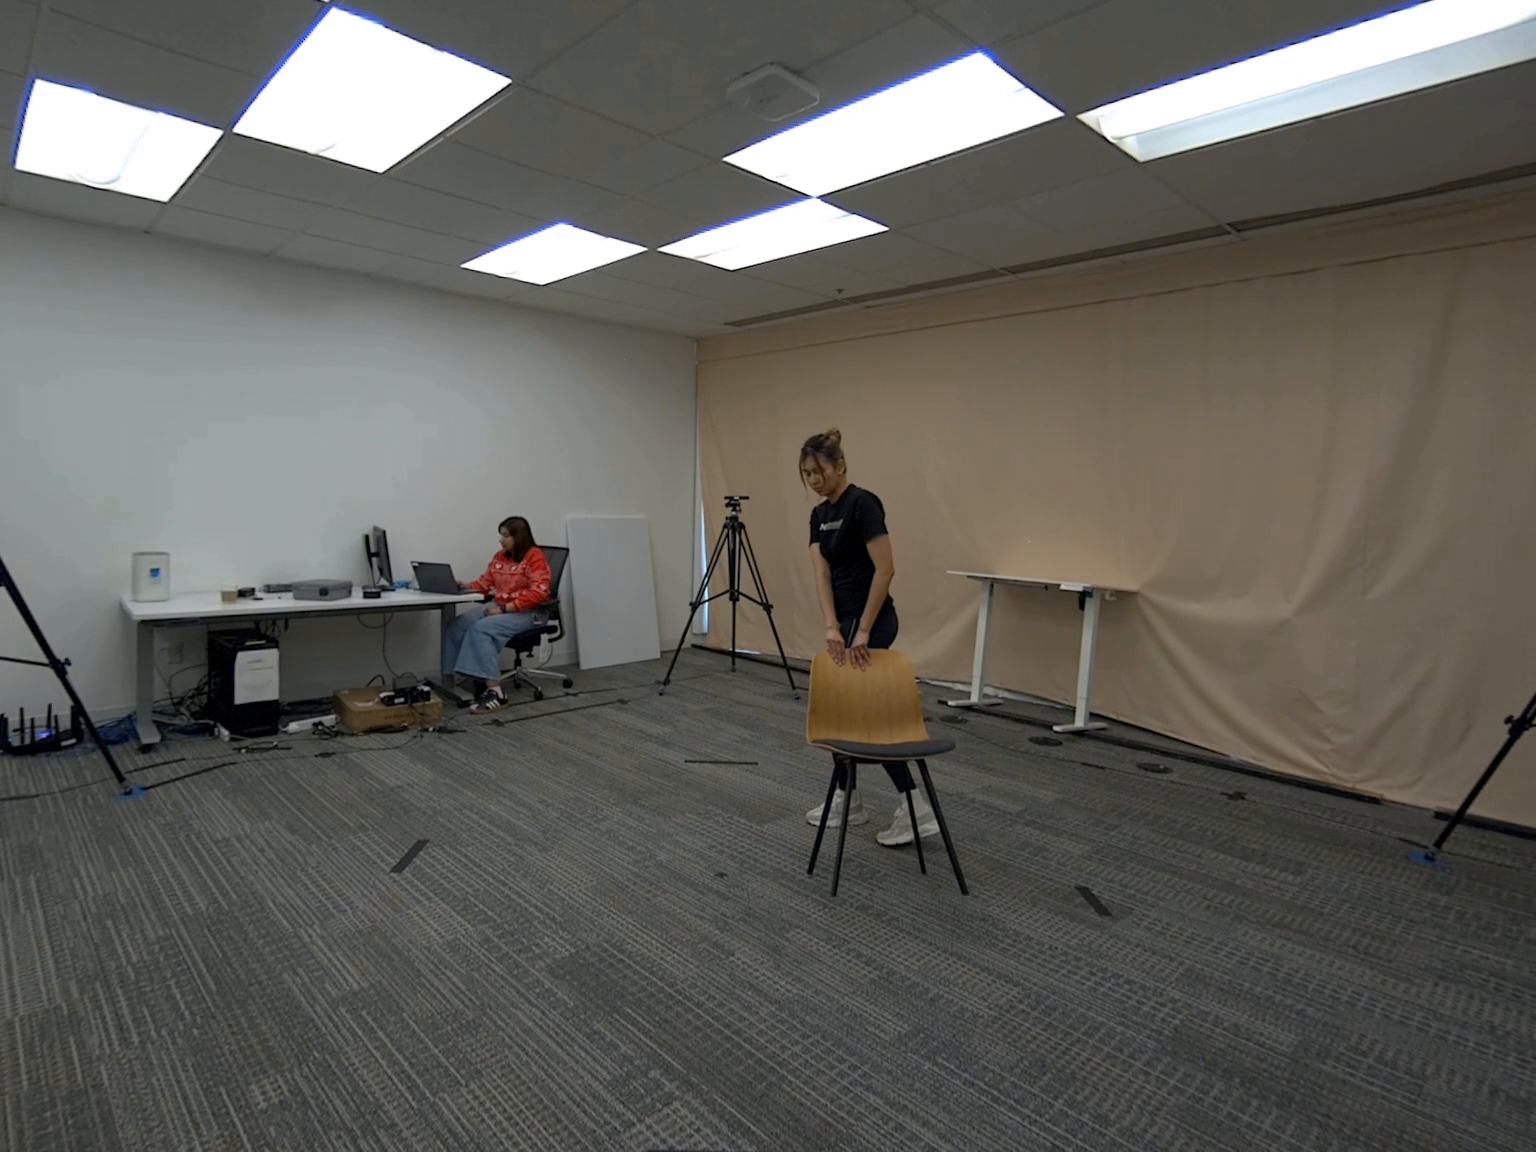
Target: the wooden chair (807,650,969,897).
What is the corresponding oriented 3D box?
[{"bbox_3d":[0.381,0.656,2.998,0.476,0.888,0.519,2,-17,-6],"label":"wooden chair"}]
